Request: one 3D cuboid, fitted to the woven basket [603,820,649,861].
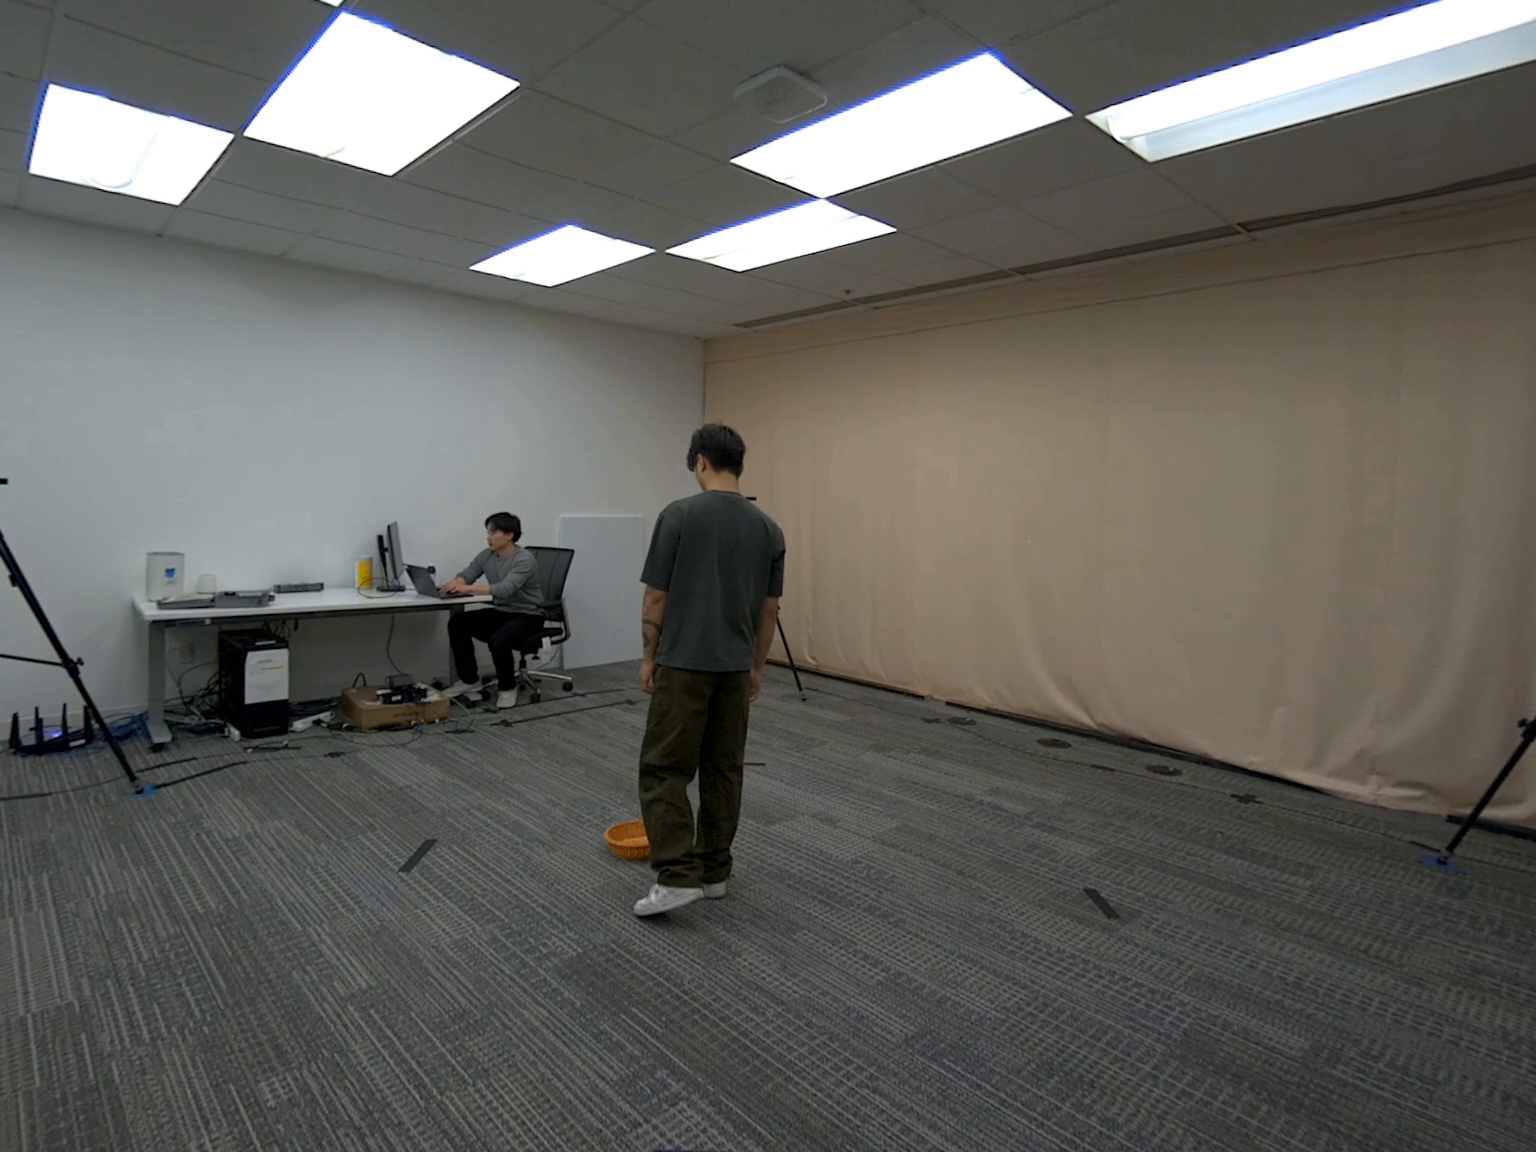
[{"bbox_3d":[-0.479,1.042,3.325,0.346,0.073,0.256,0,5,-18],"label":"woven basket"}]
